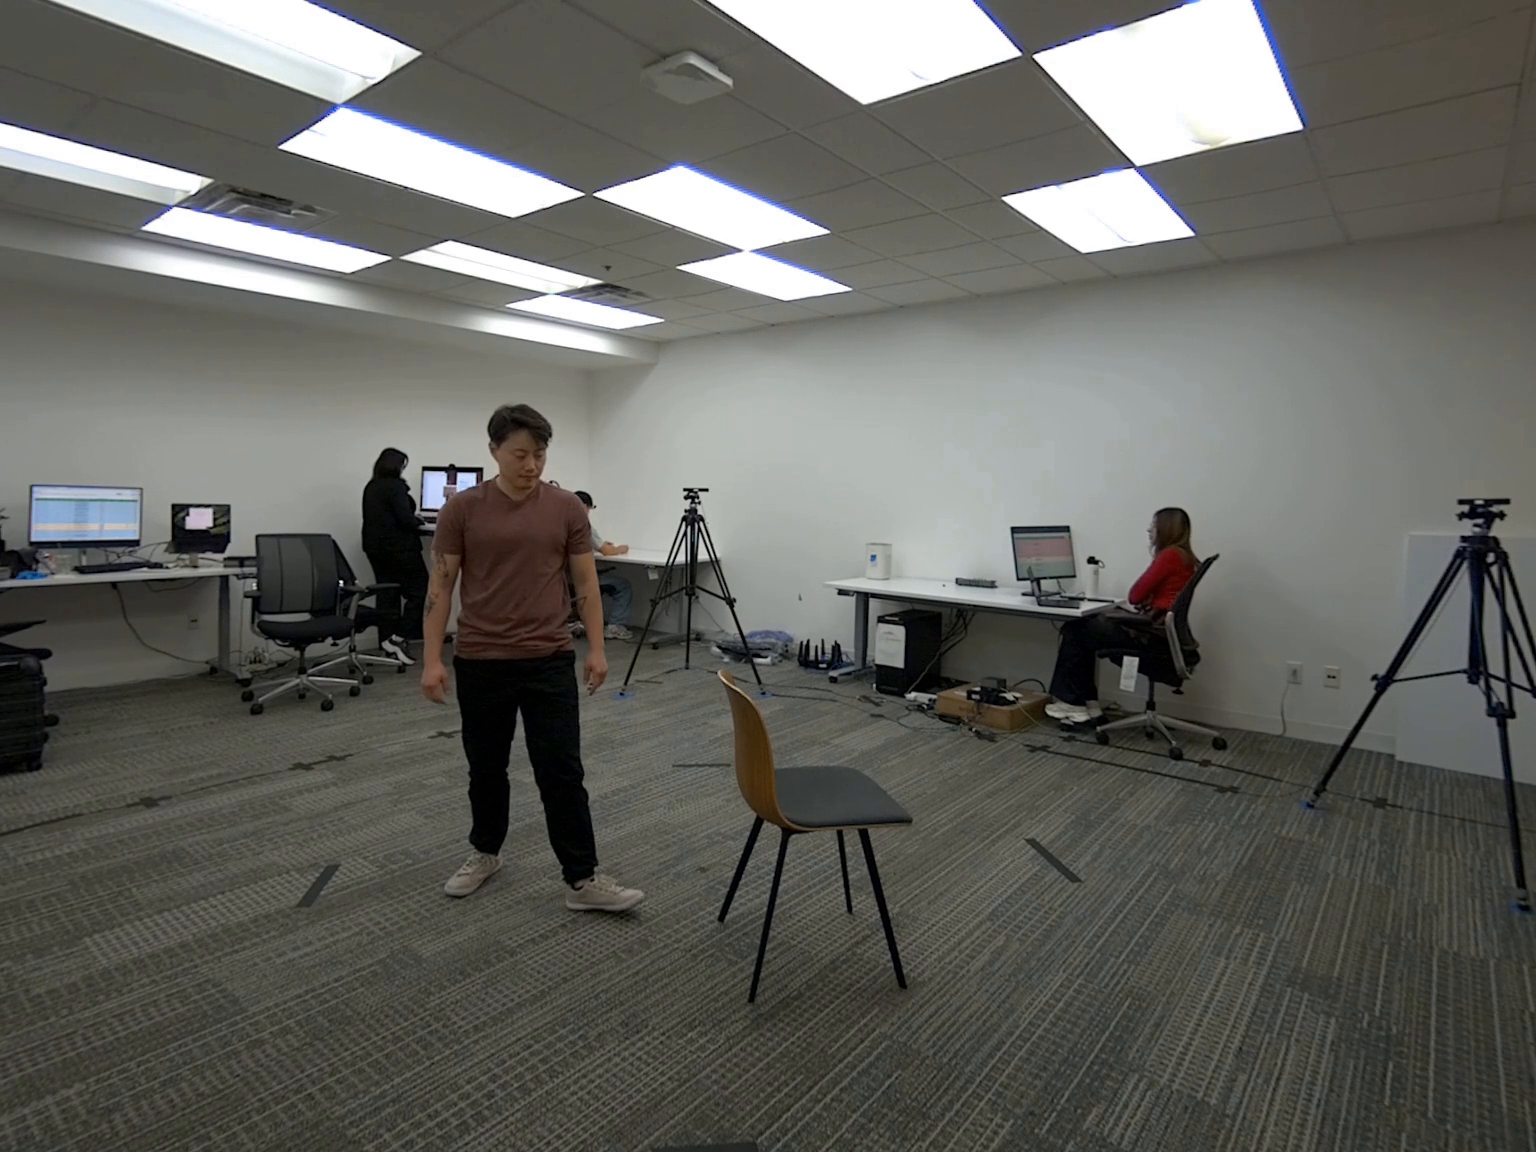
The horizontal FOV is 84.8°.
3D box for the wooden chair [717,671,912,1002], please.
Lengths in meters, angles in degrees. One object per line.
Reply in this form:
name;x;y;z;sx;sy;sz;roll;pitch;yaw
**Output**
wooden chair;0.127;0.703;2.541;0.516;0.874;0.486;-4;4;-13
